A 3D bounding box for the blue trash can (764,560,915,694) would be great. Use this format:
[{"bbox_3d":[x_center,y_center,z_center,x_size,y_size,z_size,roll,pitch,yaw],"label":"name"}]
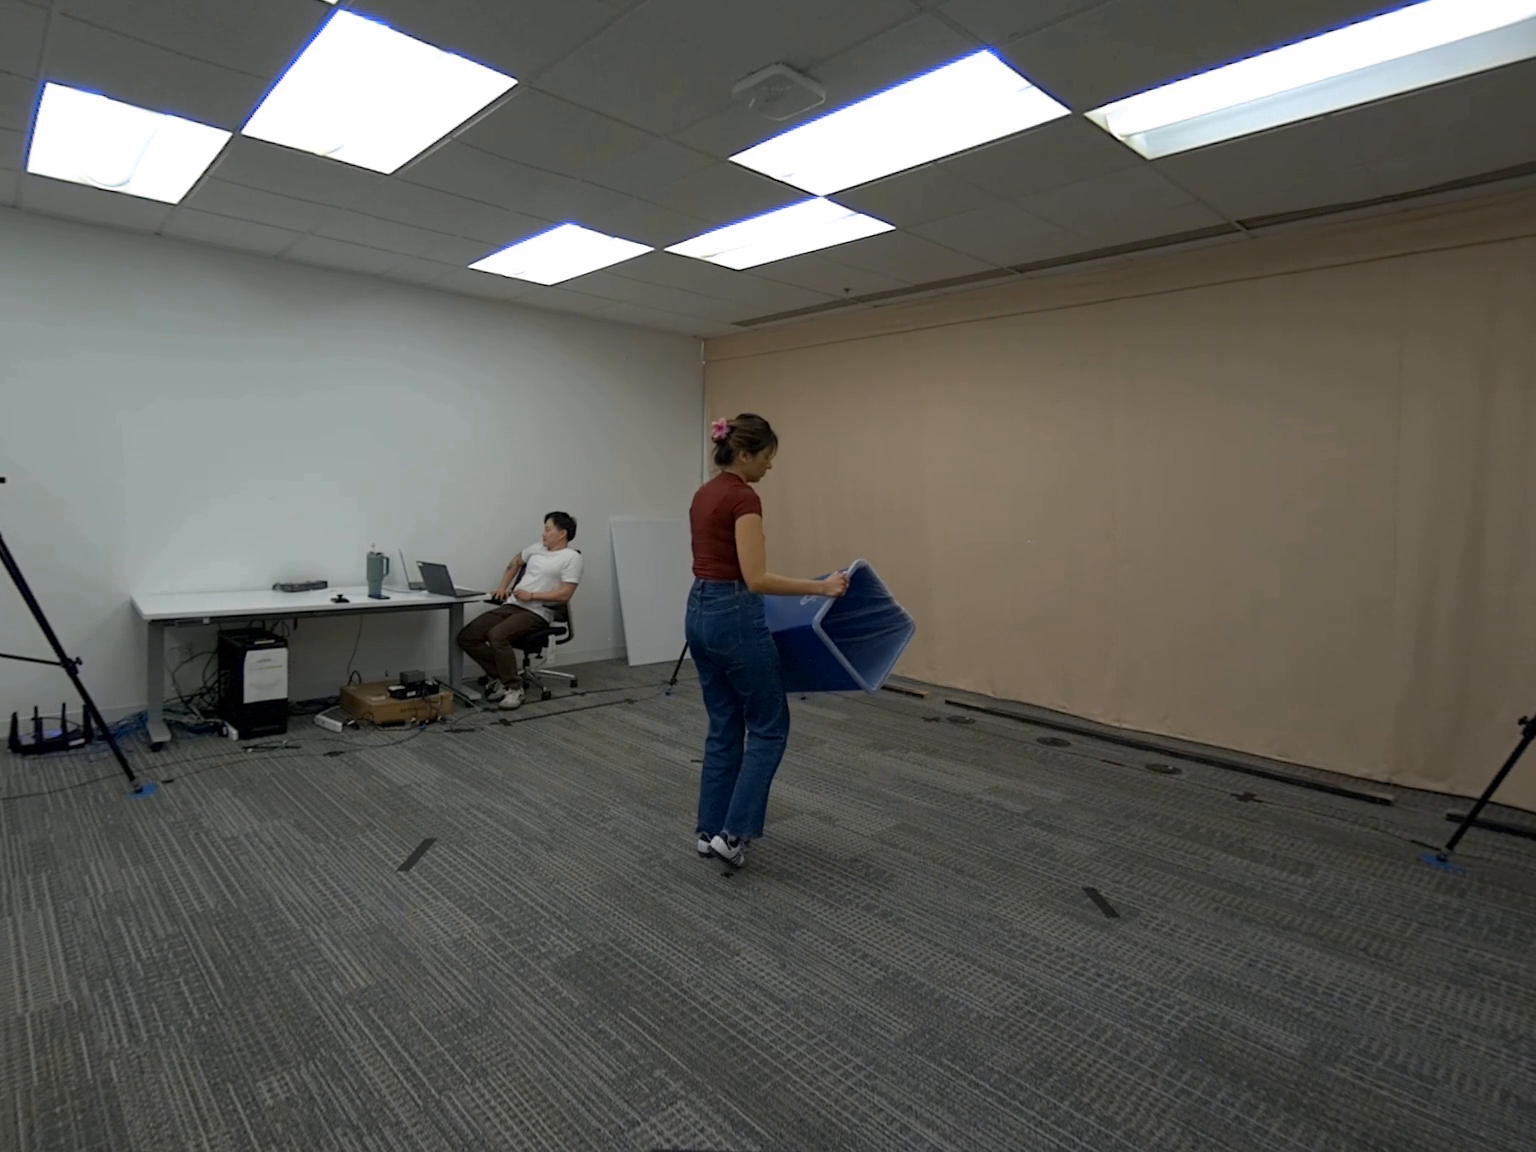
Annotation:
[{"bbox_3d":[0.161,0.250,3.376,0.723,0.373,0.374,-20,25,54],"label":"blue trash can"}]
